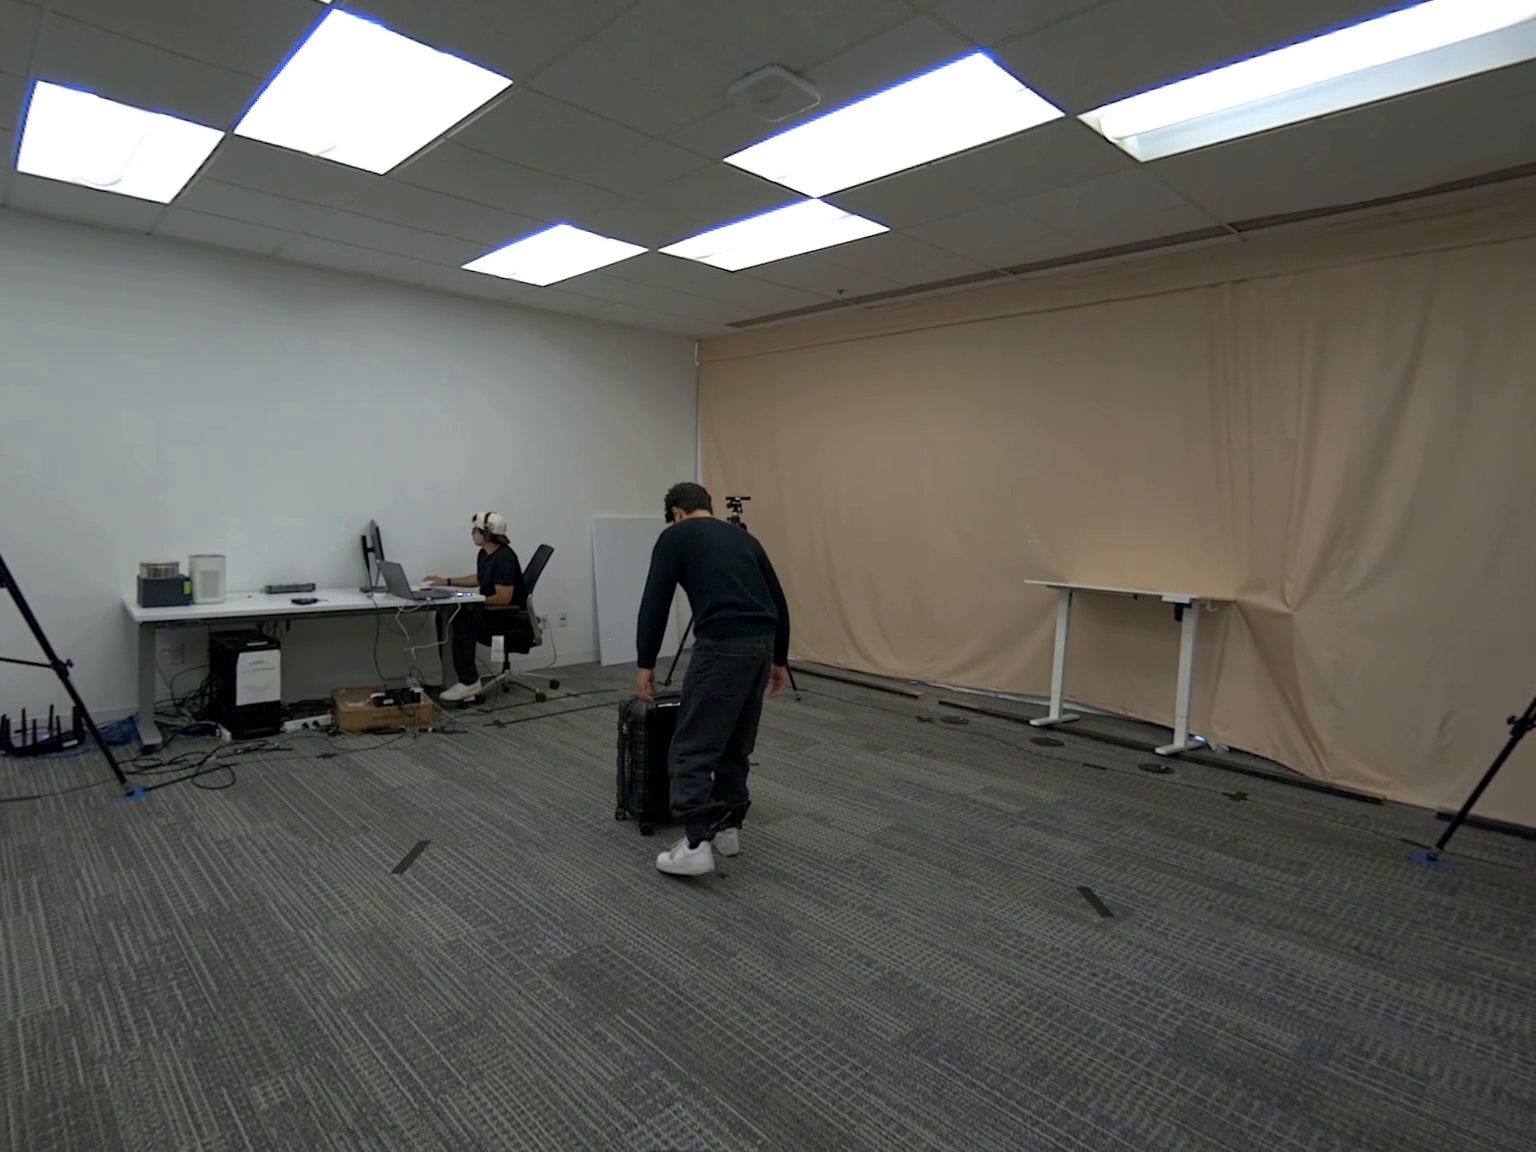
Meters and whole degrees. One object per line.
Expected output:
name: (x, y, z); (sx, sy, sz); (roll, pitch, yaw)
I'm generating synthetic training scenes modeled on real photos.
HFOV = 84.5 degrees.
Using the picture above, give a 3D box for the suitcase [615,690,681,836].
suitcase: (-0.464, 0.775, 3.628); (0.368, 0.548, 0.254); (-1, 5, -32)
